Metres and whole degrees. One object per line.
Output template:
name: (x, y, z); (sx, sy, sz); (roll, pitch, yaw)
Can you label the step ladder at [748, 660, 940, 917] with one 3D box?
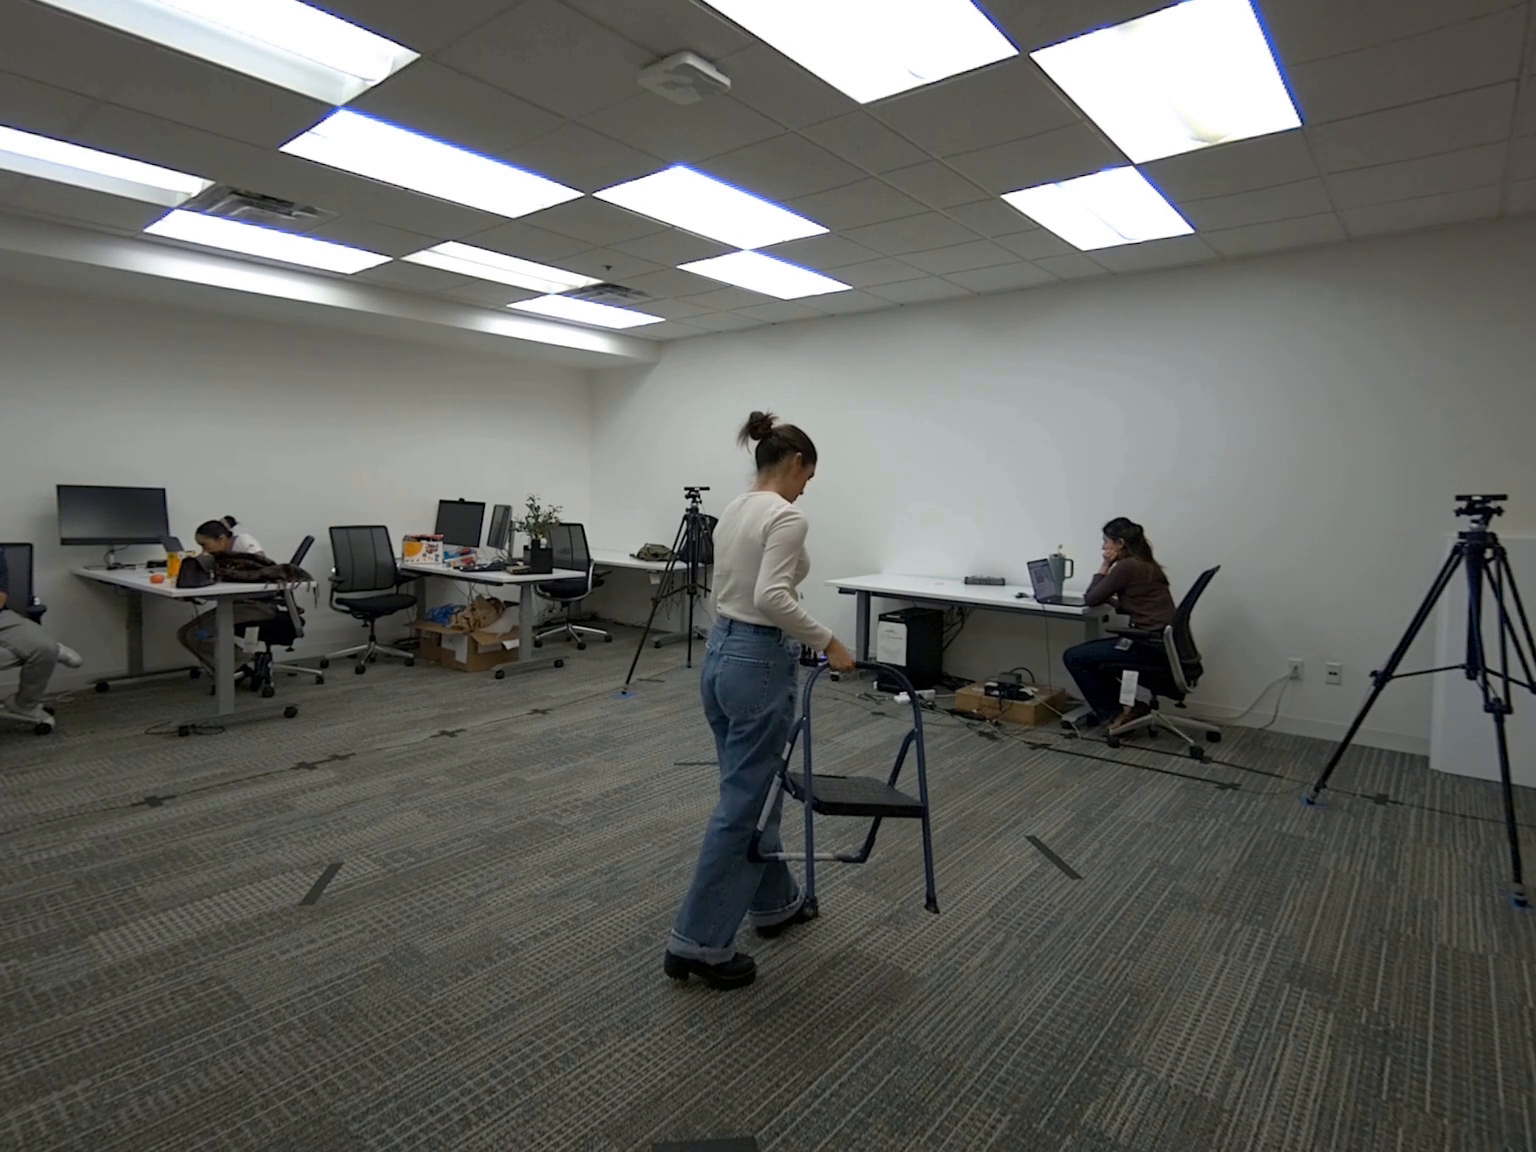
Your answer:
step ladder: (0.250, 0.547, 2.341); (0.417, 0.607, 0.360); (12, -2, -29)
